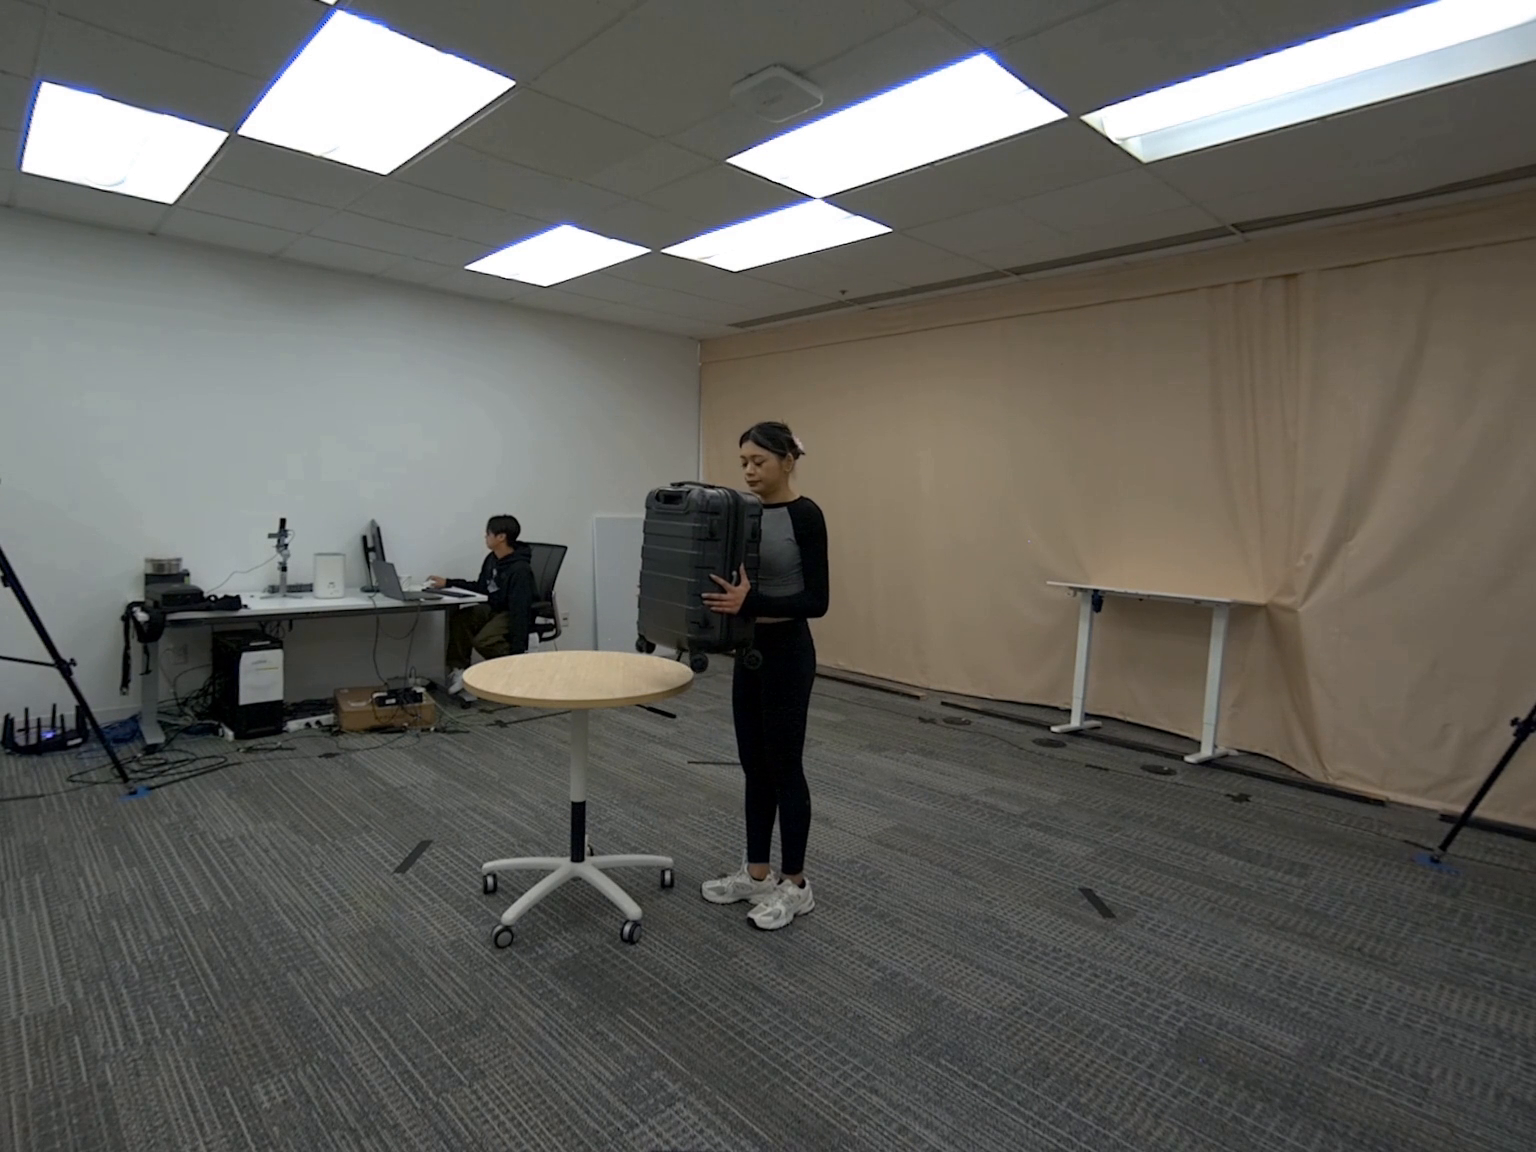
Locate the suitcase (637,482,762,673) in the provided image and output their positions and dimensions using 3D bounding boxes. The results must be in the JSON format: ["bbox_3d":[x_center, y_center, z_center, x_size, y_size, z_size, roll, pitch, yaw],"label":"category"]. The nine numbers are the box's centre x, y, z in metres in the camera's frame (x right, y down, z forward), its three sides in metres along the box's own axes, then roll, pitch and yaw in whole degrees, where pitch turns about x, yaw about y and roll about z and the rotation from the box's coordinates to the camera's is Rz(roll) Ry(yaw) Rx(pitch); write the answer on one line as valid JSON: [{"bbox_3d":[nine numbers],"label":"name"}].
[{"bbox_3d":[-0.223,-0.012,2.618,0.242,0.548,0.385,1,3,-38],"label":"suitcase"}]
